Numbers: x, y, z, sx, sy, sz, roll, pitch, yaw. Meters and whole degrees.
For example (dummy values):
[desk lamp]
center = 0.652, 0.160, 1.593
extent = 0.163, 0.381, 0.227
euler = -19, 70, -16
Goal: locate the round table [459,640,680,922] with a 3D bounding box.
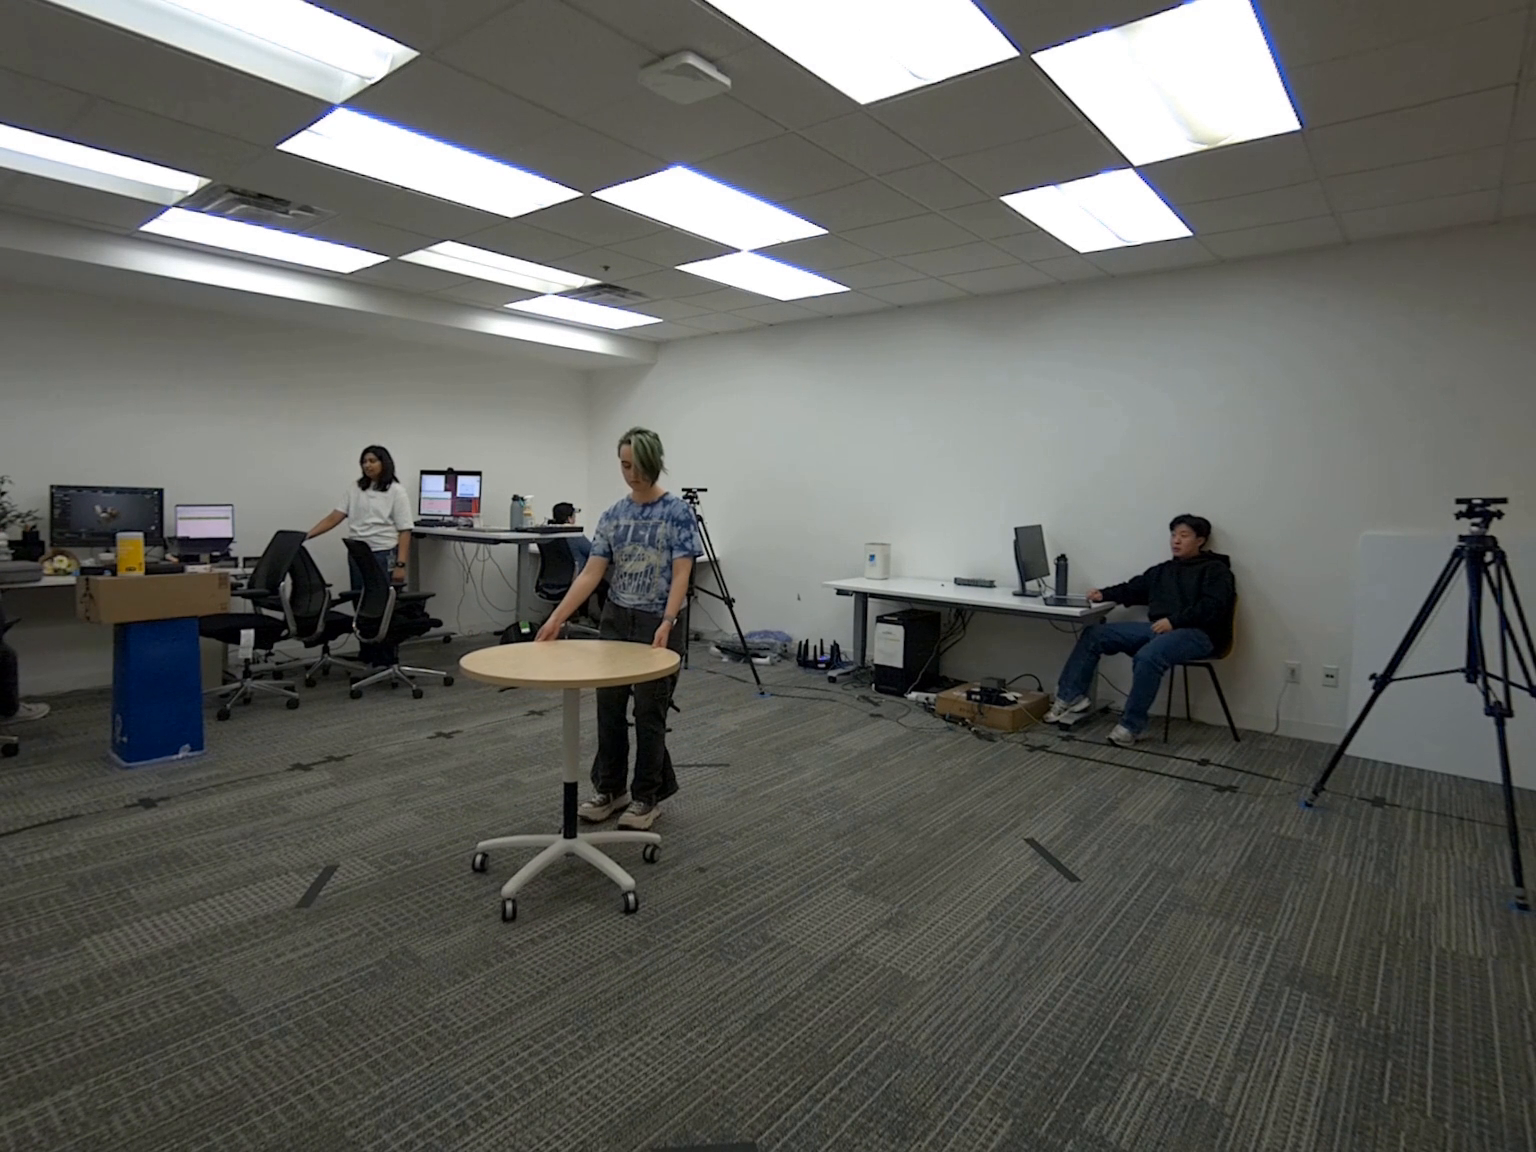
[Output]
[round table]
center = -0.709, 0.681, 3.015
extent = 0.763, 0.792, 0.767
euler = 0, 3, -2
